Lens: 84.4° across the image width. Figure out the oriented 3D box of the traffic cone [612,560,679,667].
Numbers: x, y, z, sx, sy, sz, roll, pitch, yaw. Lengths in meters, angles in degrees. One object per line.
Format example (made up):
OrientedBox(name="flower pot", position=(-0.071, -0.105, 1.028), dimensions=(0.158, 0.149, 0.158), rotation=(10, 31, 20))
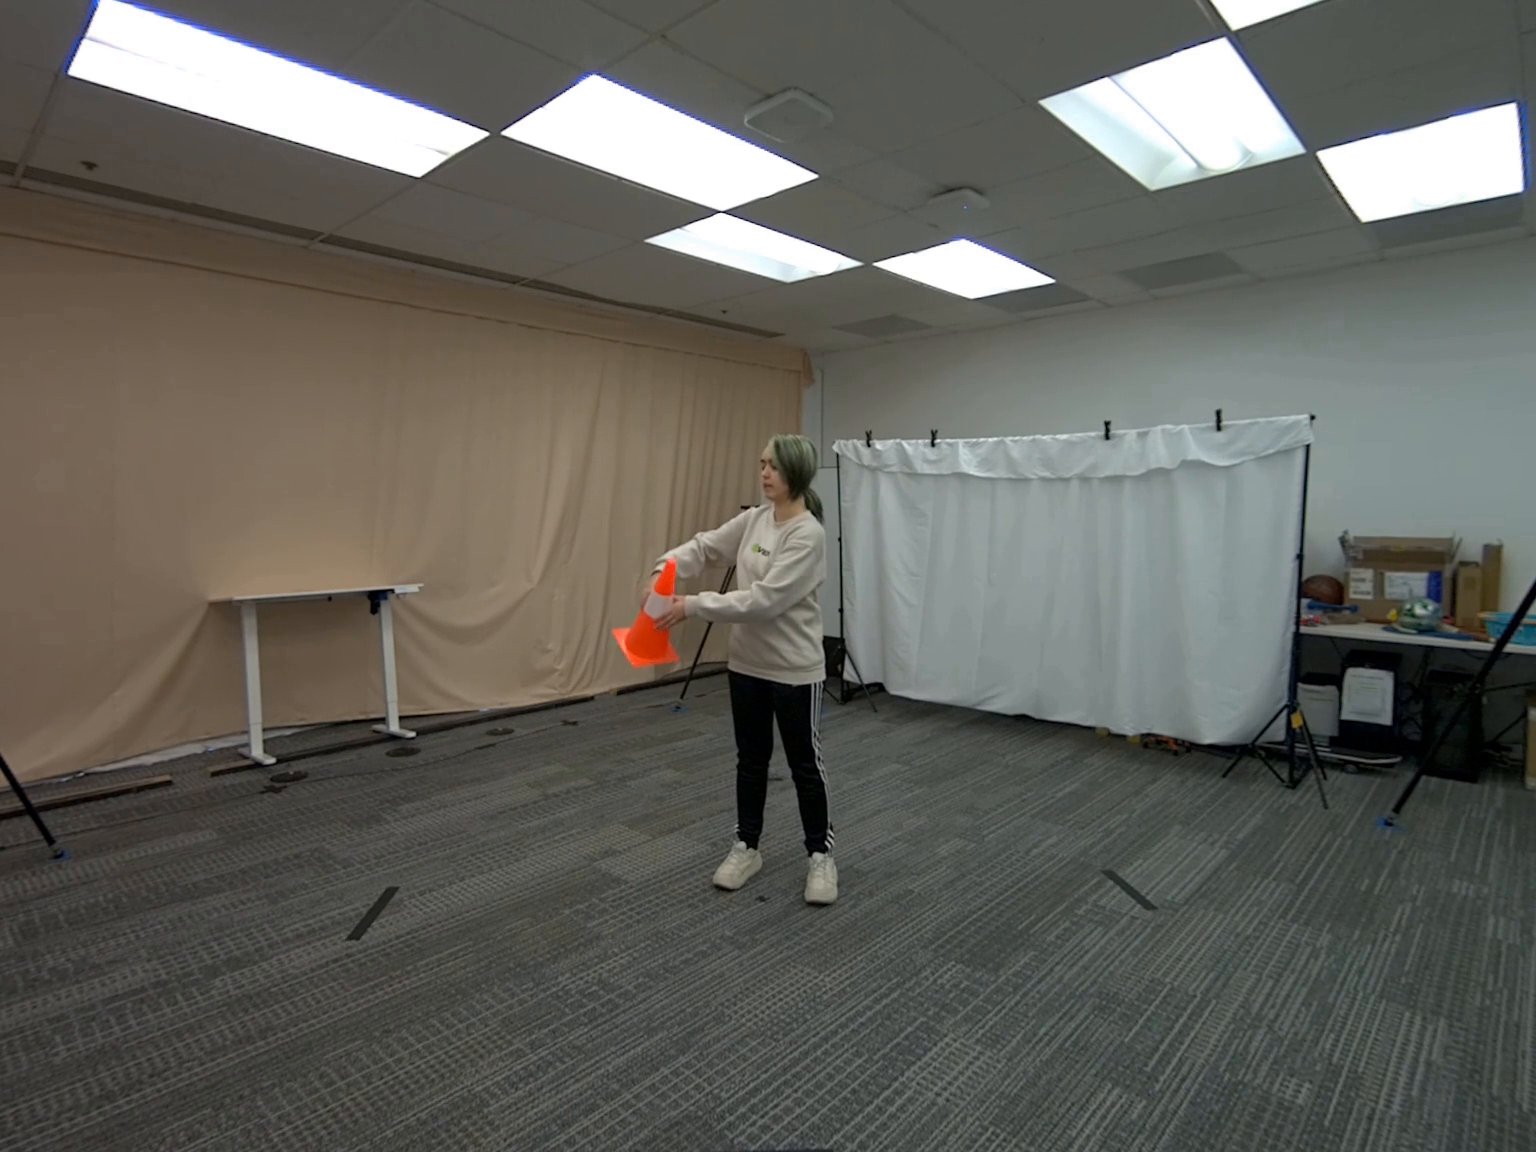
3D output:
OrientedBox(name="traffic cone", position=(-0.366, 0.098, 2.965), dimensions=(0.210, 0.381, 0.199), rotation=(32, 30, 21))
